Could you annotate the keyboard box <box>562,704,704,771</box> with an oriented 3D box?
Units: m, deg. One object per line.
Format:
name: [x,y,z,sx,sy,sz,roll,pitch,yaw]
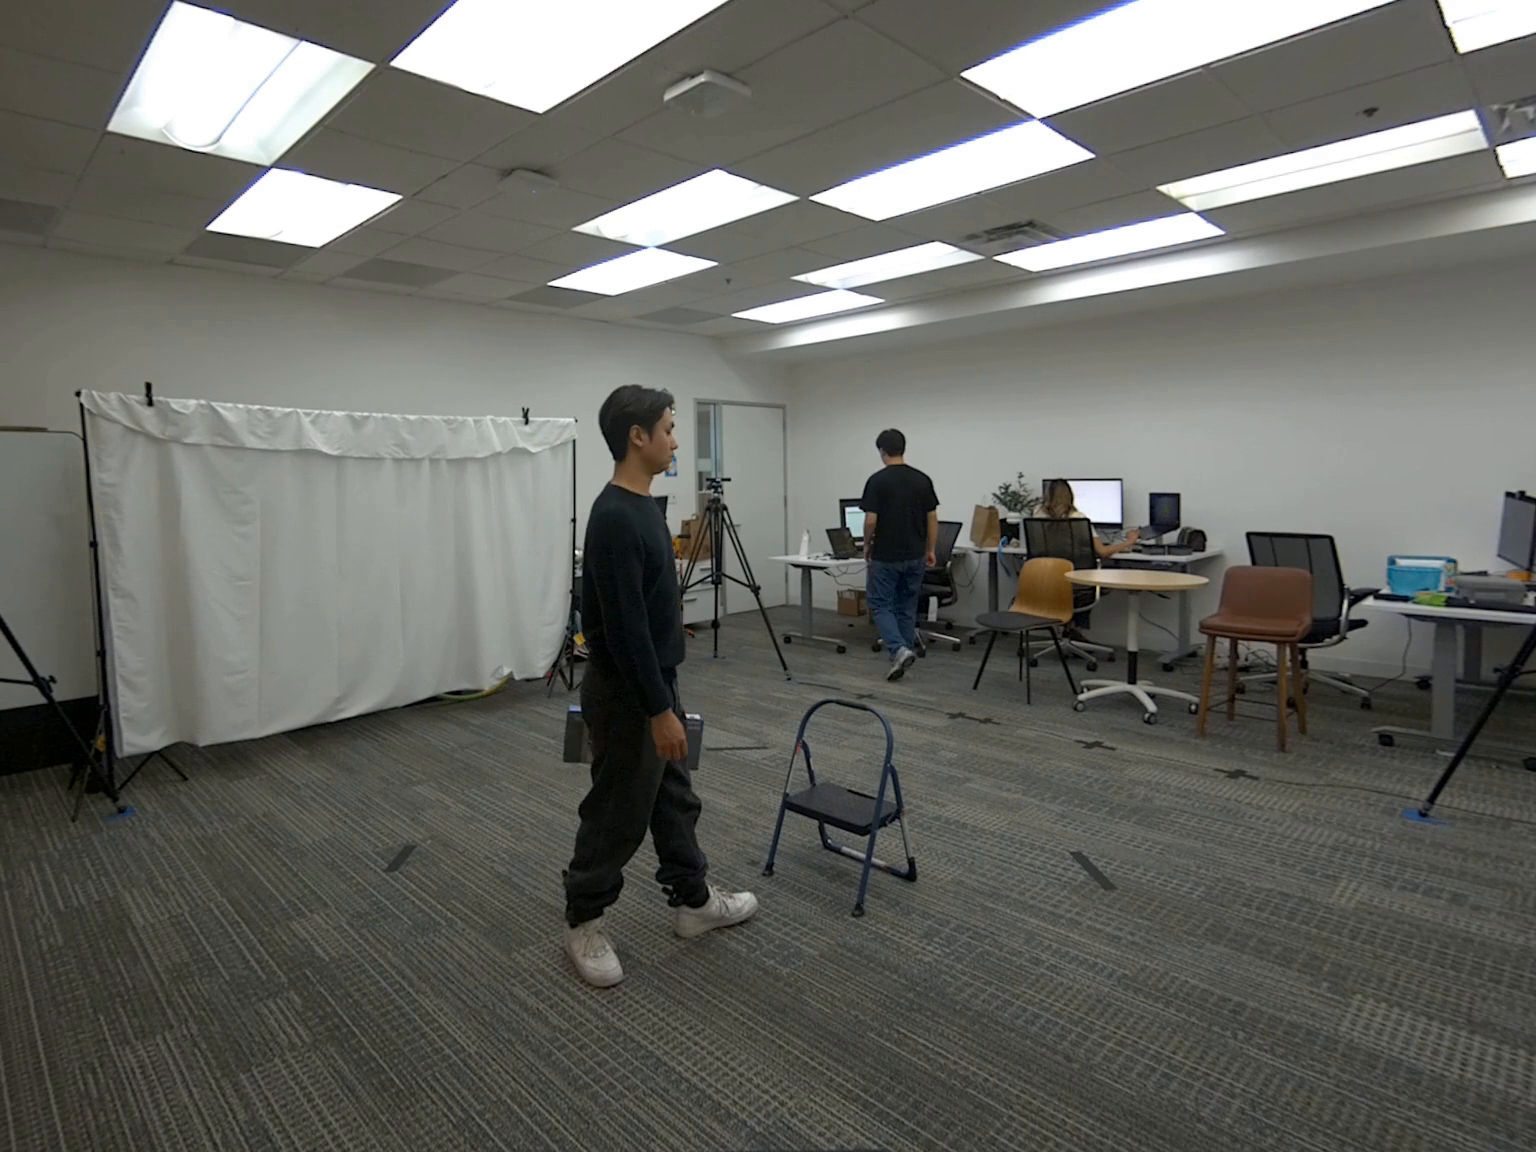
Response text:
keyboard box: [-0.424,0.518,2.758,0.433,0.175,0.060,7,5,-8]
